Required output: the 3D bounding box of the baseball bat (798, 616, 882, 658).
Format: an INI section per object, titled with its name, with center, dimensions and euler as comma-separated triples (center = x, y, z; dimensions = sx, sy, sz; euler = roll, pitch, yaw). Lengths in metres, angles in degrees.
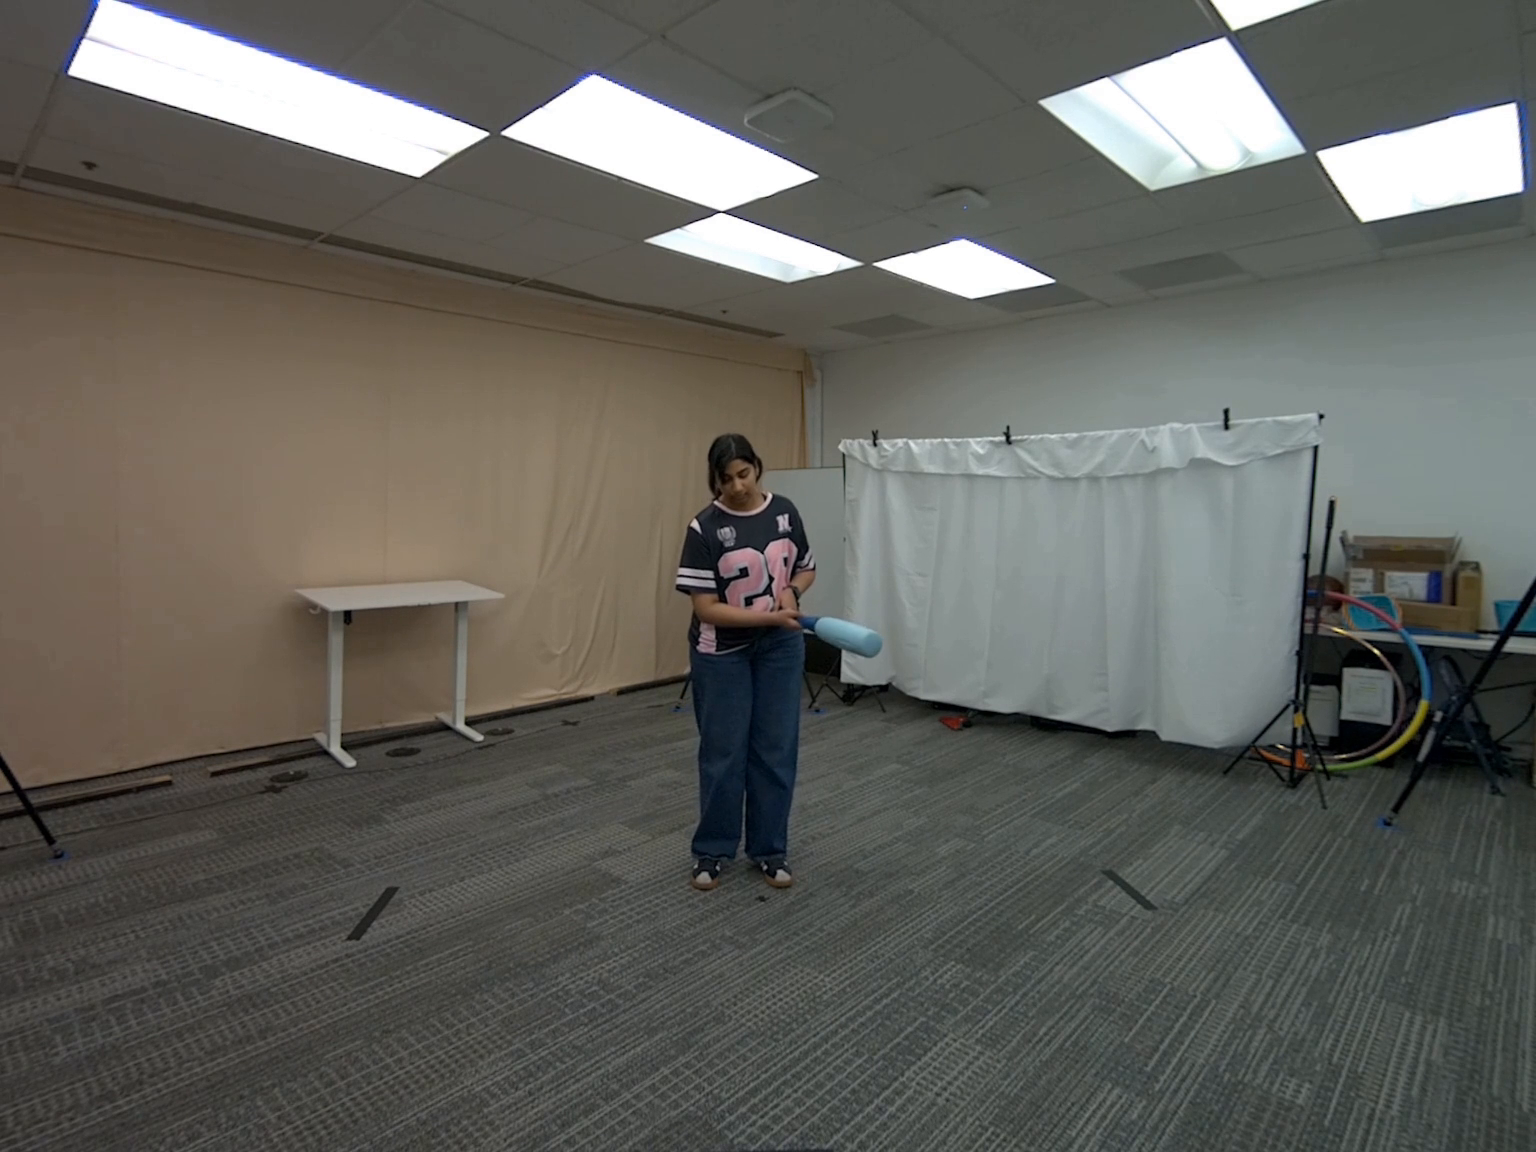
[baseball bat]
center = 0.174, 0.171, 2.746
dimensions = 0.087, 0.088, 0.560
euler = -2, 10, -30
